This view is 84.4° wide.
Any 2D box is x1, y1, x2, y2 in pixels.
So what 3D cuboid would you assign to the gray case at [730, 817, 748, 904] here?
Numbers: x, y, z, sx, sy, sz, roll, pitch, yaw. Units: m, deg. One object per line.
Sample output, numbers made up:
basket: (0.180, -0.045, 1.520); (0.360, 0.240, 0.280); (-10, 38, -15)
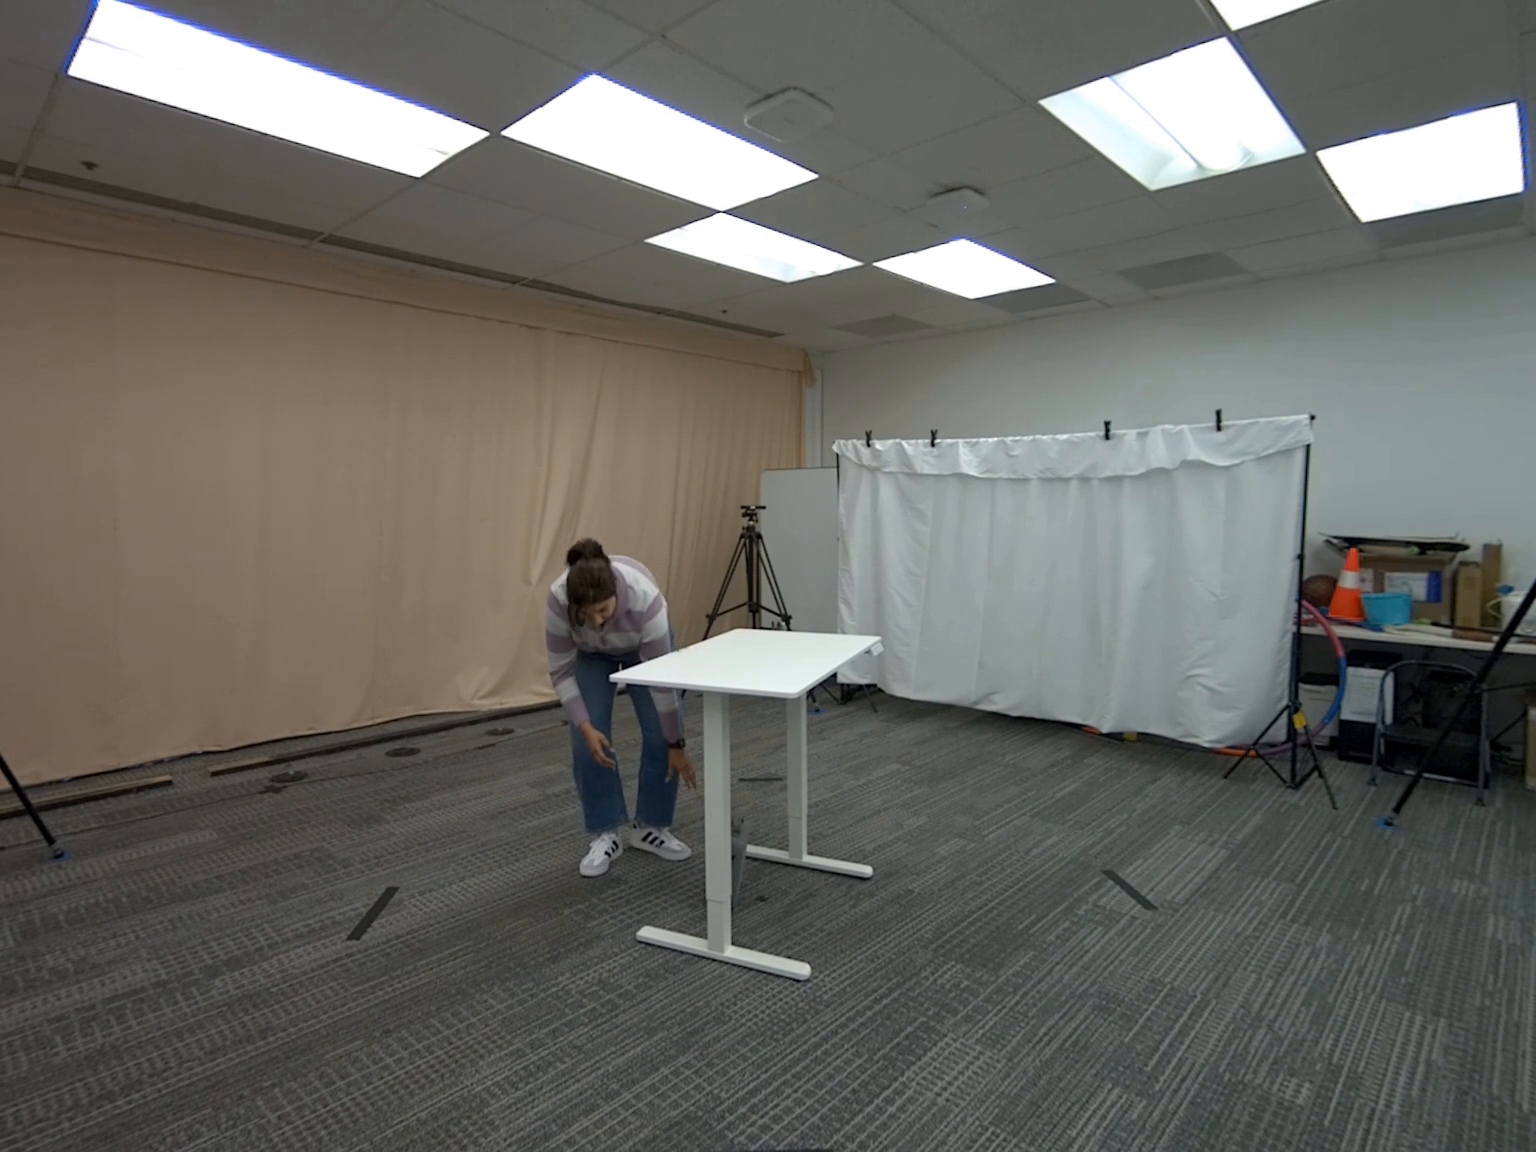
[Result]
gray case: (-0.131, 1.010, 3.005); (0.105, 0.260, 0.256); (8, 6, 2)
